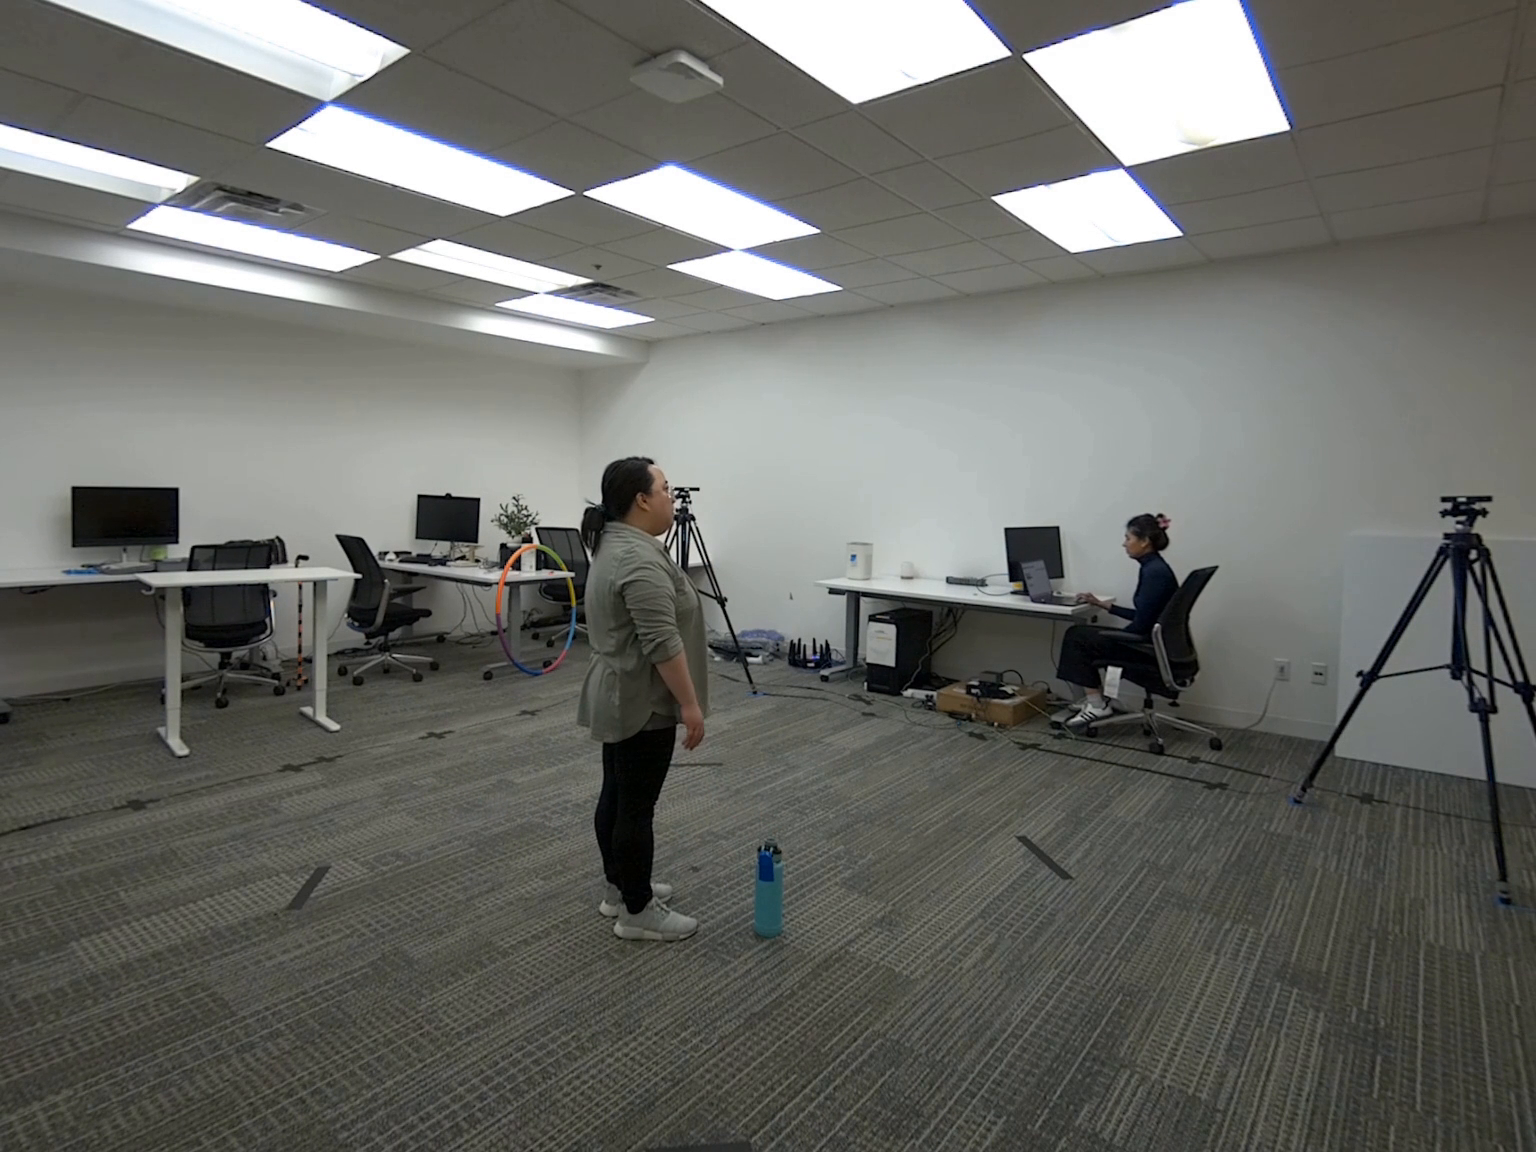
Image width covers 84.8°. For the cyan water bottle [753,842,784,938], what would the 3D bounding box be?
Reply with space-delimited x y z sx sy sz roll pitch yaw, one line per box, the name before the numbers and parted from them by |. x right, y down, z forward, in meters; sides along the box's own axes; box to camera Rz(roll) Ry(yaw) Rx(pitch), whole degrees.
cyan water bottle | -0.002 0.977 2.664 0.092 0.282 0.093 2 4 -2
